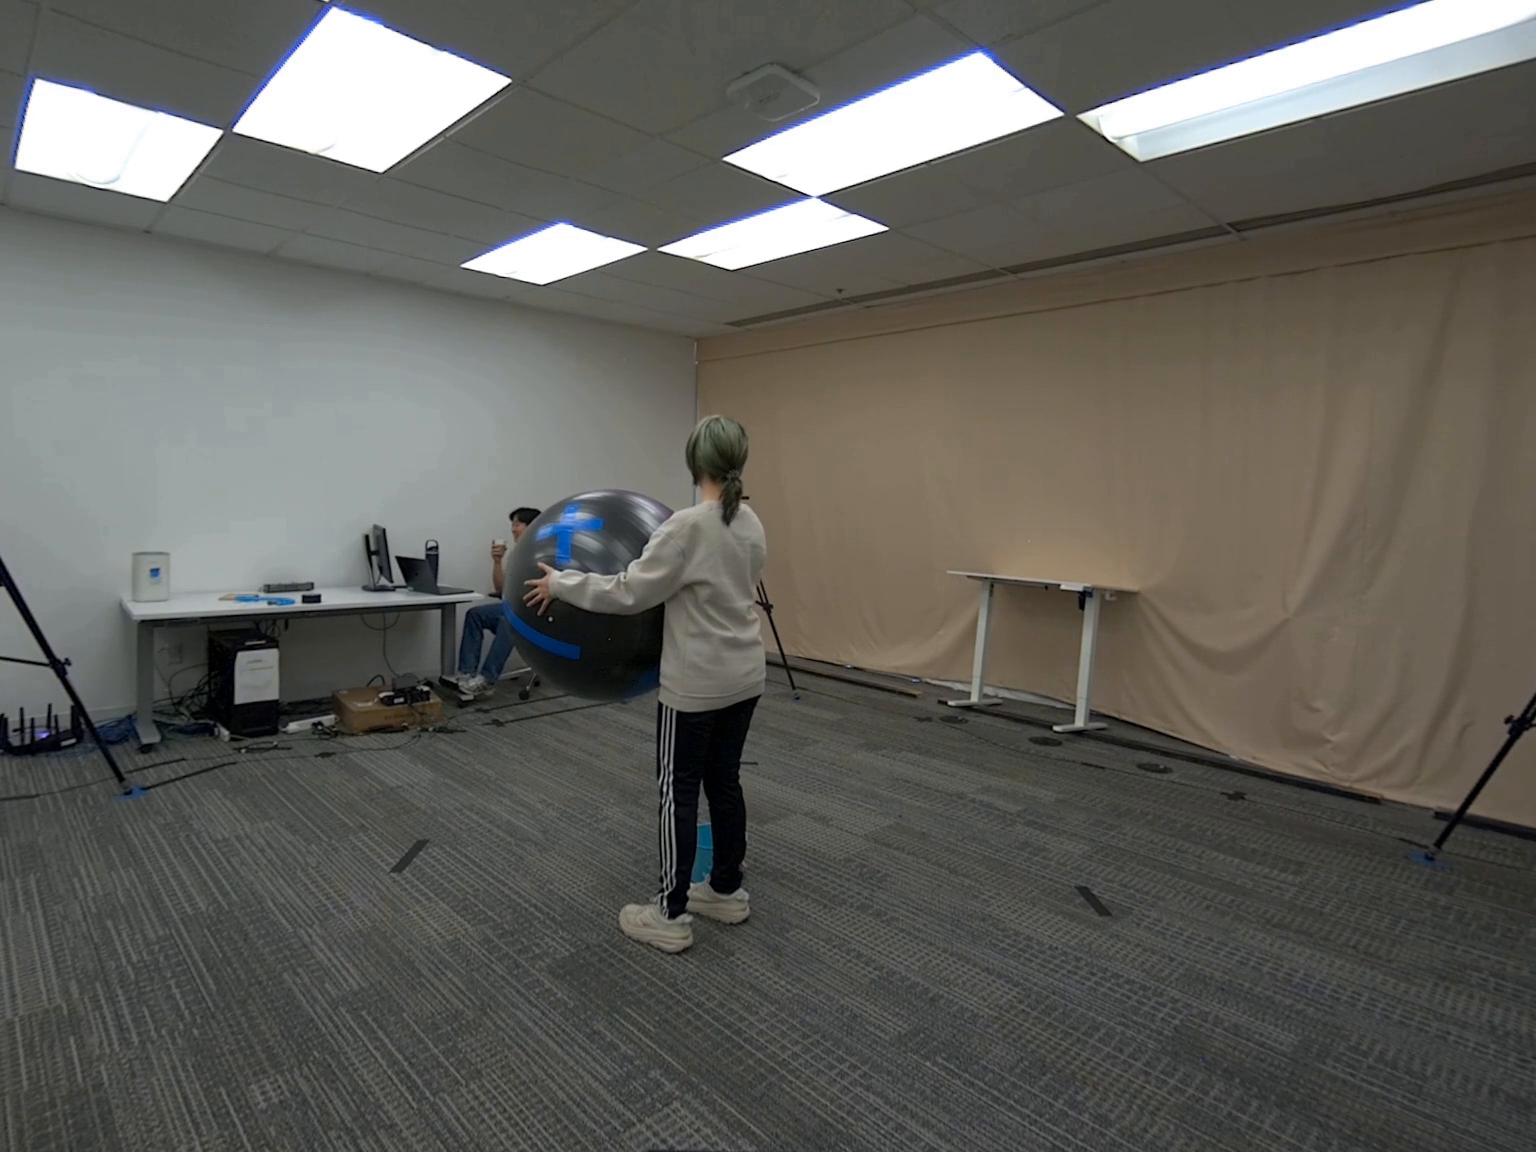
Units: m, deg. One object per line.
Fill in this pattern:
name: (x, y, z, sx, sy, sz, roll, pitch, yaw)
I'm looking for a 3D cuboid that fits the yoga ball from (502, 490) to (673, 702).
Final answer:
yoga ball: (-0.585, 0.071, 3.048, 0.757, 0.756, 0.761, 1, 4, -1)
